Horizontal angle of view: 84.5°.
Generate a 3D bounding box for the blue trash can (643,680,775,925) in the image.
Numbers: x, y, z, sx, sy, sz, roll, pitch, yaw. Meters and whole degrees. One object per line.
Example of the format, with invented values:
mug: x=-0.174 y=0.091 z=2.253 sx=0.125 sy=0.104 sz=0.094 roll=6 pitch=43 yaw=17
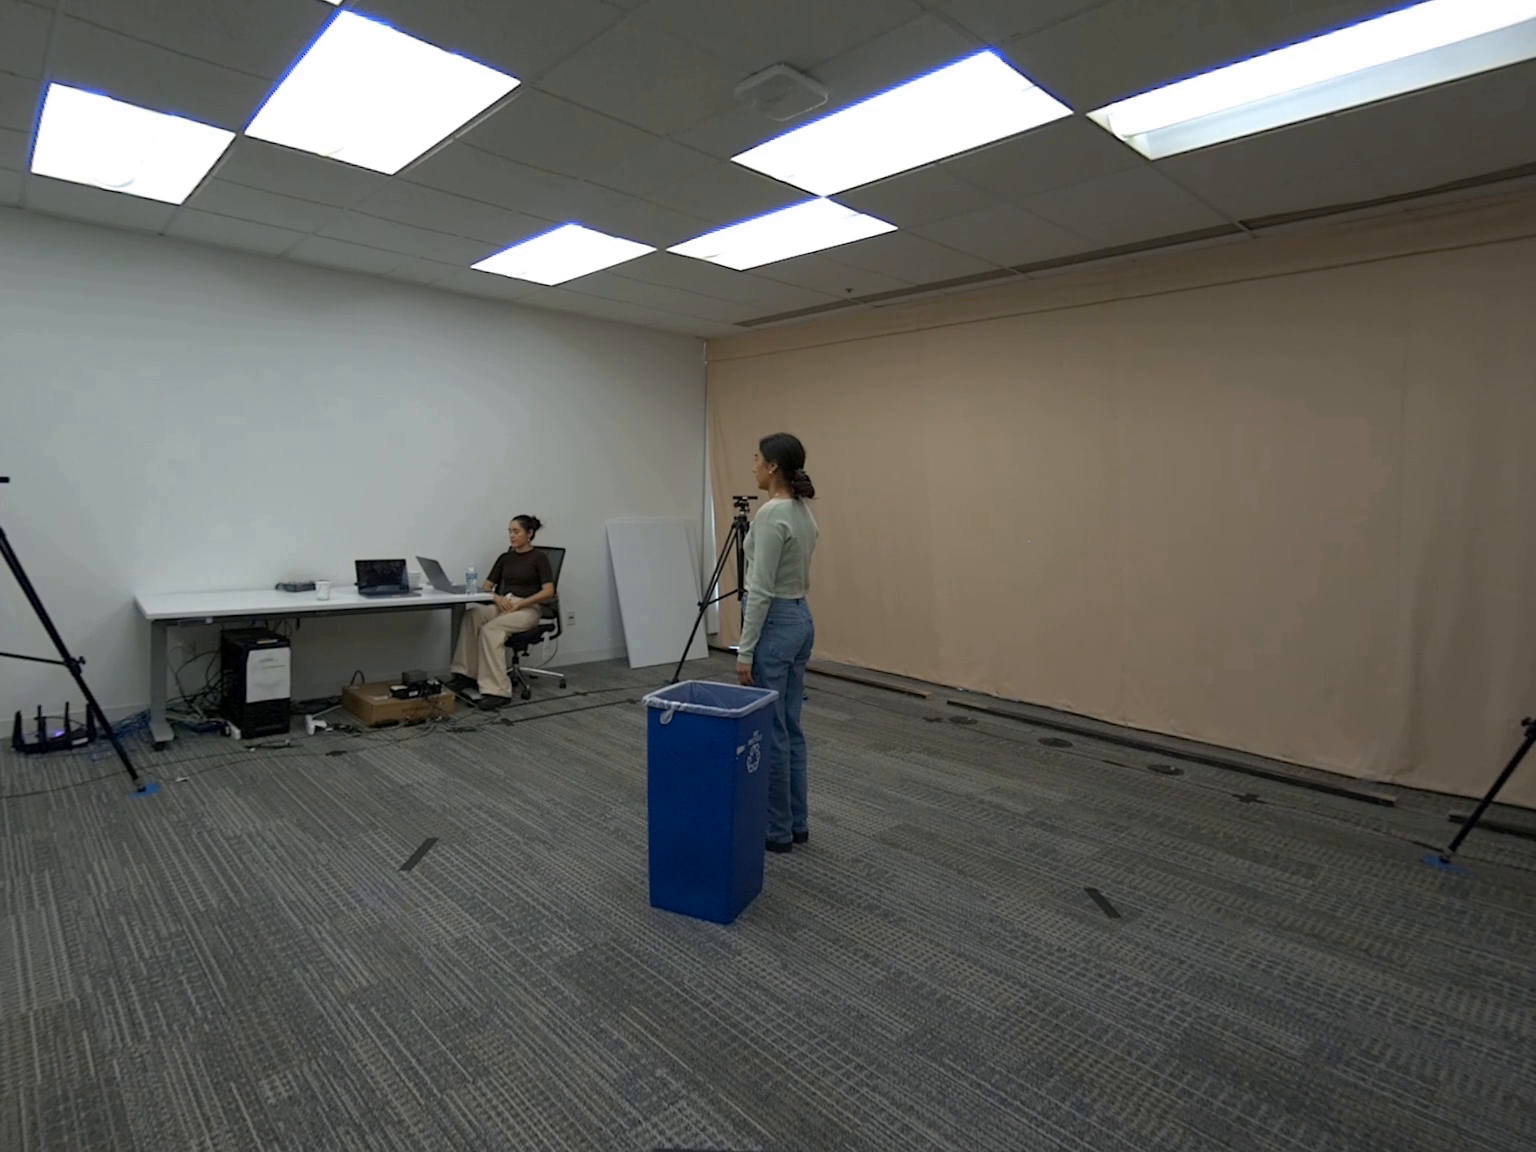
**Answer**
blue trash can: x=-0.208 y=0.762 z=2.914 sx=0.385 sy=0.712 sz=0.368 roll=3 pitch=4 yaw=23
